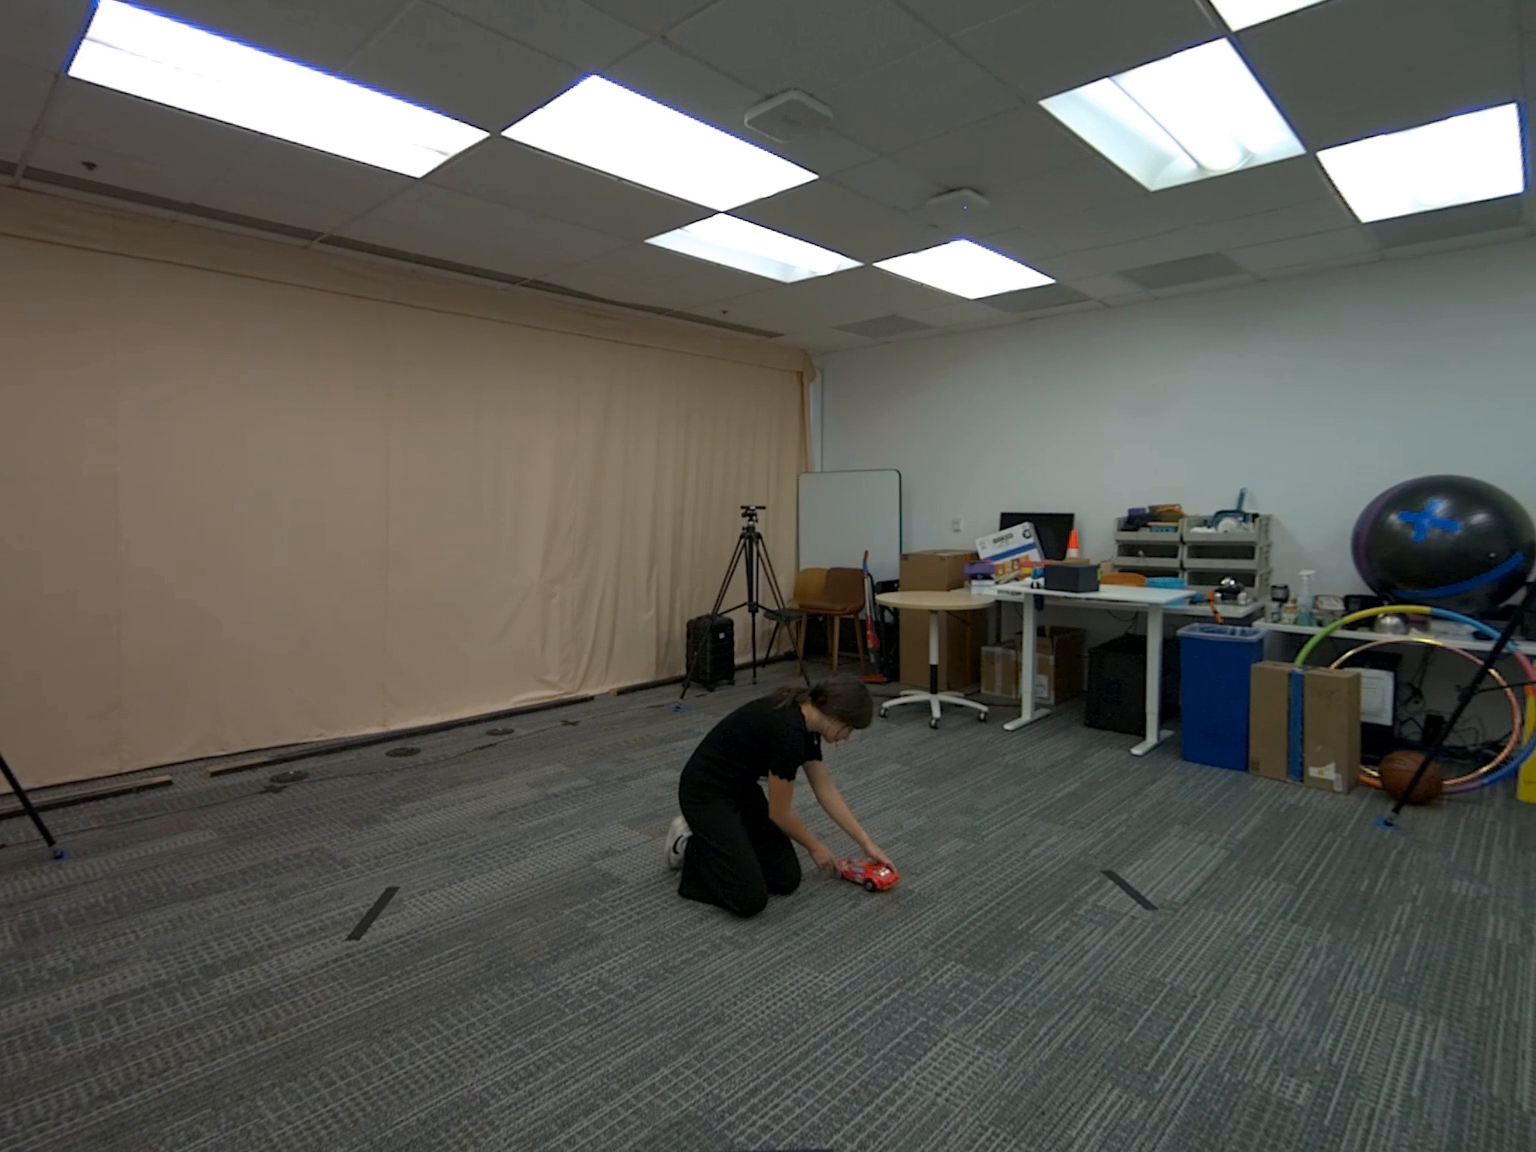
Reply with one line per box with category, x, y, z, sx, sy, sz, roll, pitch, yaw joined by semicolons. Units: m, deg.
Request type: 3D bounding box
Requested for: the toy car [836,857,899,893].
toy car;0.367;1.104;3.091;0.262;0.083;0.126;-7;-3;44
